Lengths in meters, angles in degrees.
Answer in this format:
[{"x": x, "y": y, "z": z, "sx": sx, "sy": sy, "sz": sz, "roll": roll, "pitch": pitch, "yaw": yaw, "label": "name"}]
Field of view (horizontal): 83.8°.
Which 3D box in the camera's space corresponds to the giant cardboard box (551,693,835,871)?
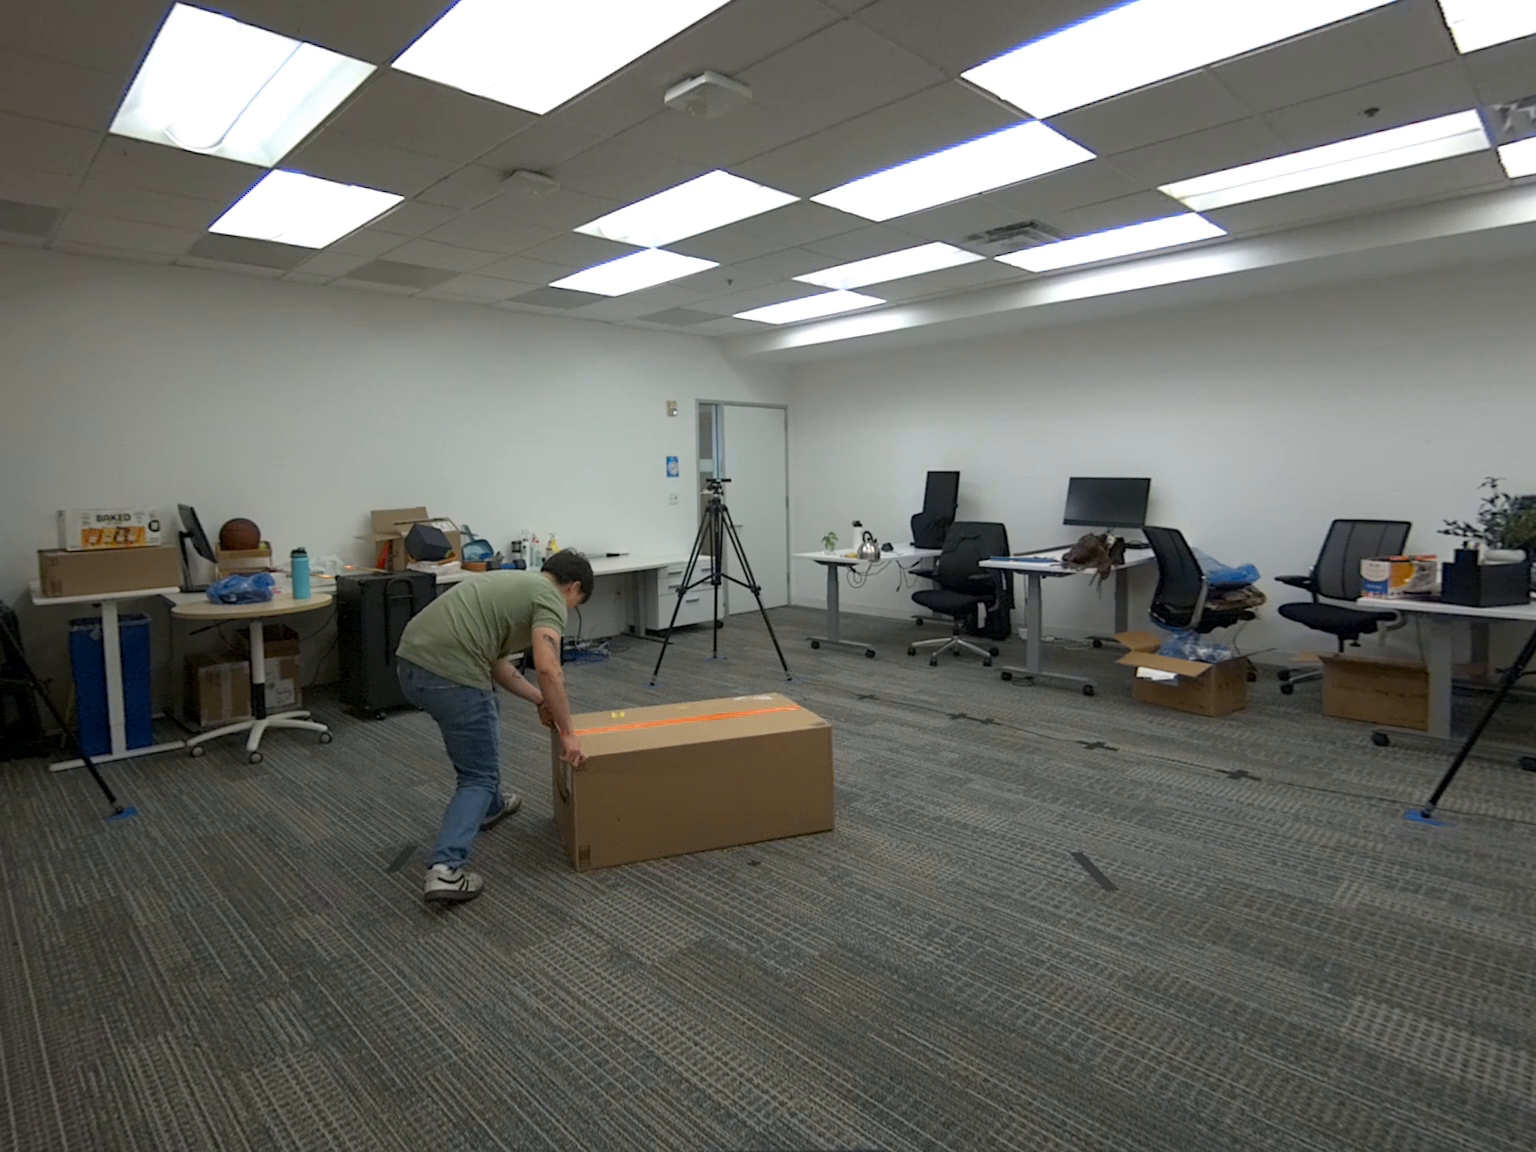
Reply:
[{"x": -0.320, "y": 0.794, "z": 3.471, "sx": 1.008, "sy": 0.424, "sz": 0.590, "roll": -4, "pitch": 5, "yaw": -20, "label": "giant cardboard box"}]
